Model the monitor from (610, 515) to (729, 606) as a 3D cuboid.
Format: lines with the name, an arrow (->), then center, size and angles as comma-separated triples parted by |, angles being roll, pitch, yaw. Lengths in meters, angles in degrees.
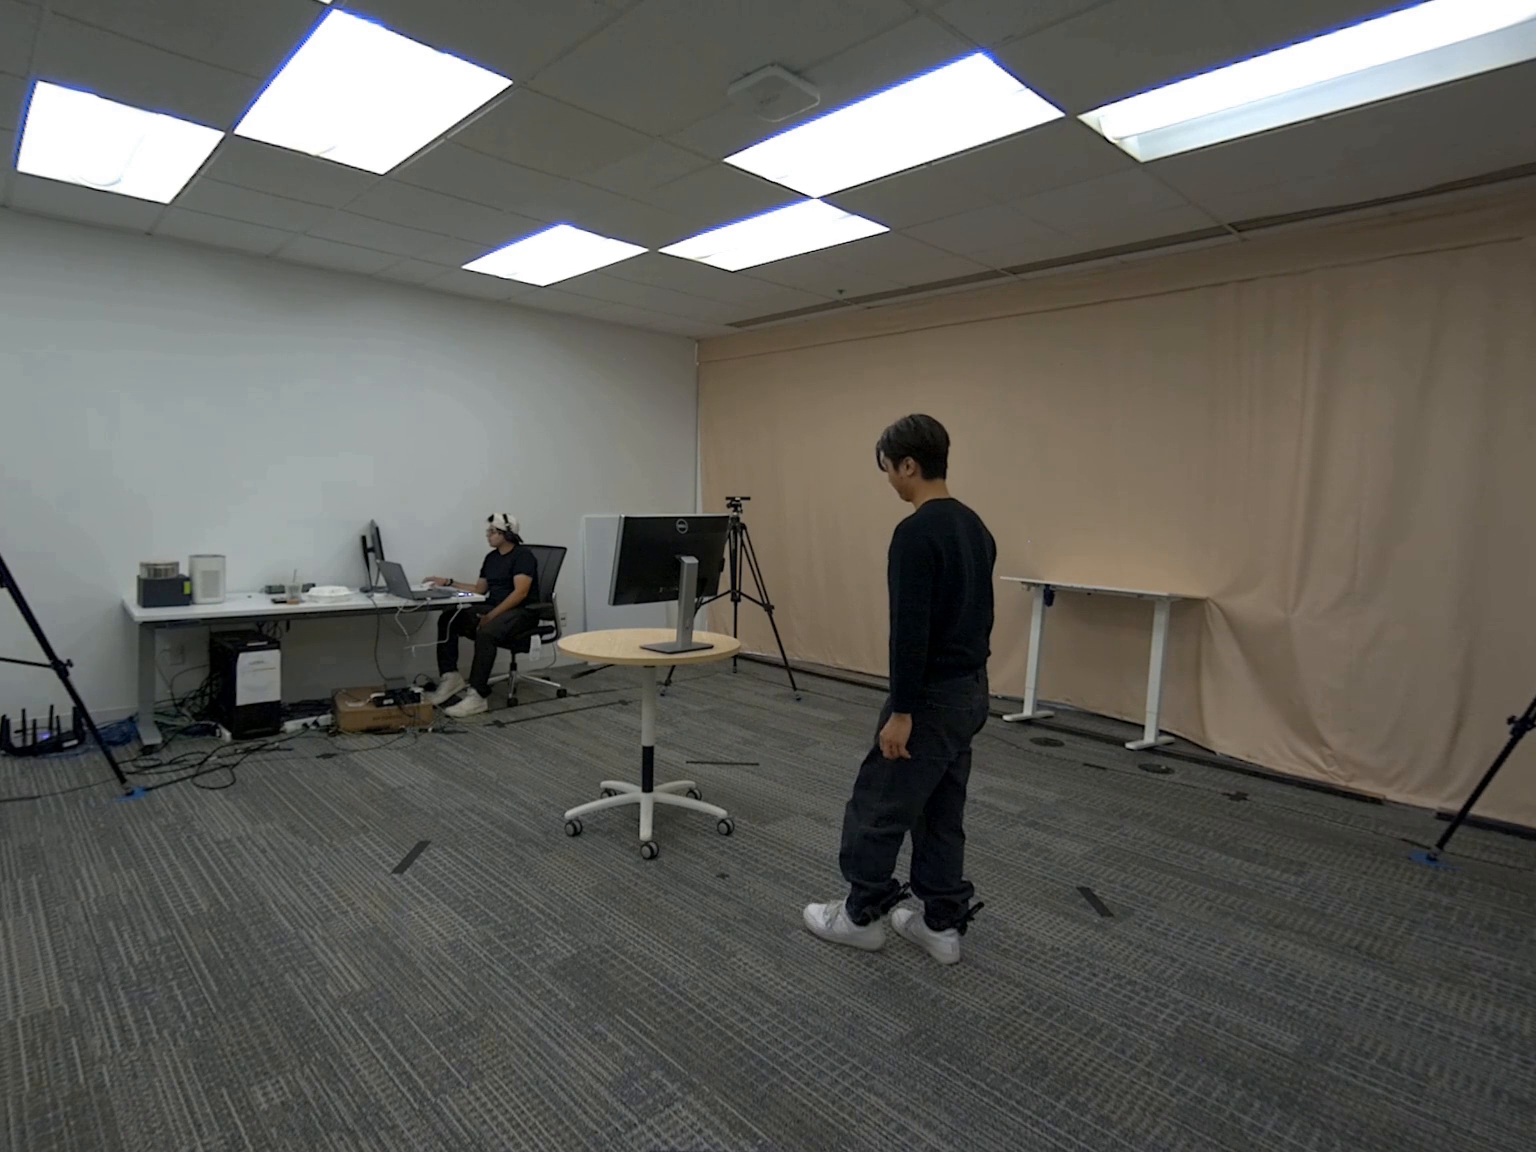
monitor -> -0.373, 0.028, 3.392 | 0.192, 0.521, 0.527 | 3, 4, 43
